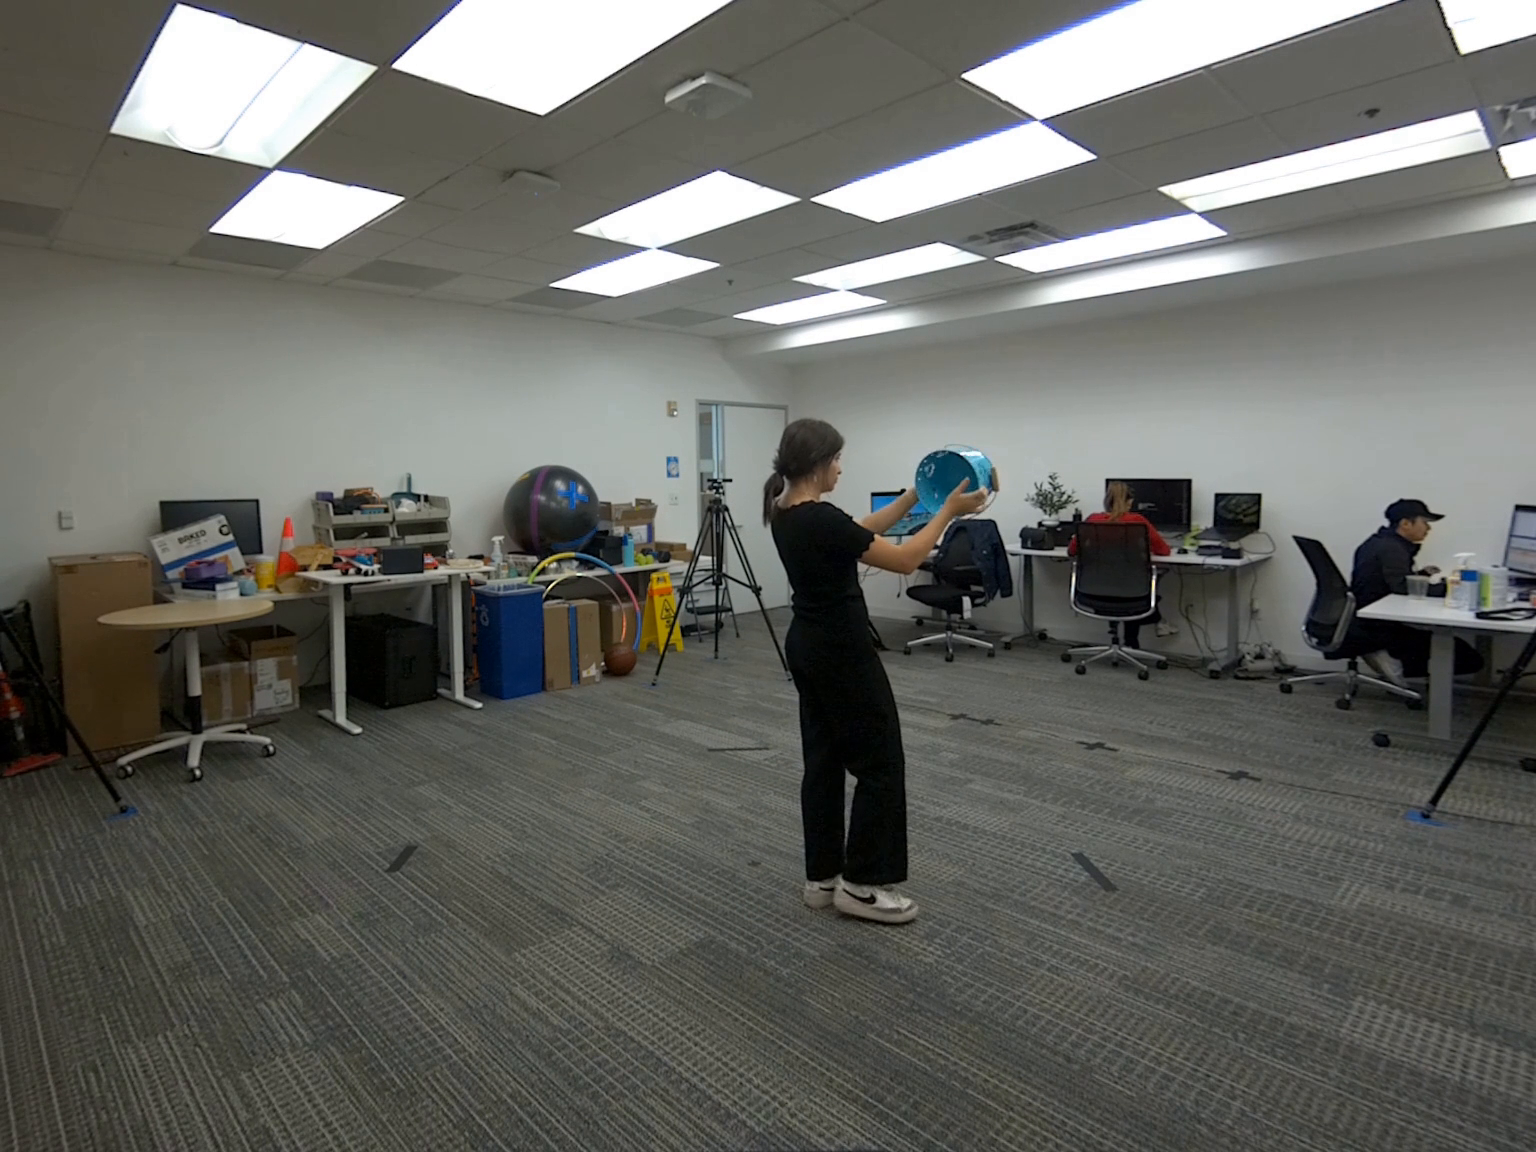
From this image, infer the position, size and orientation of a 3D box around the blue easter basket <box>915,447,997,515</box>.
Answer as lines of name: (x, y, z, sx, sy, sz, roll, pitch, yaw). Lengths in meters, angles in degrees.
blue easter basket: (0.625, -0.309, 2.789, 0.251, 0.241, 0.153, 4, 16, 44)
